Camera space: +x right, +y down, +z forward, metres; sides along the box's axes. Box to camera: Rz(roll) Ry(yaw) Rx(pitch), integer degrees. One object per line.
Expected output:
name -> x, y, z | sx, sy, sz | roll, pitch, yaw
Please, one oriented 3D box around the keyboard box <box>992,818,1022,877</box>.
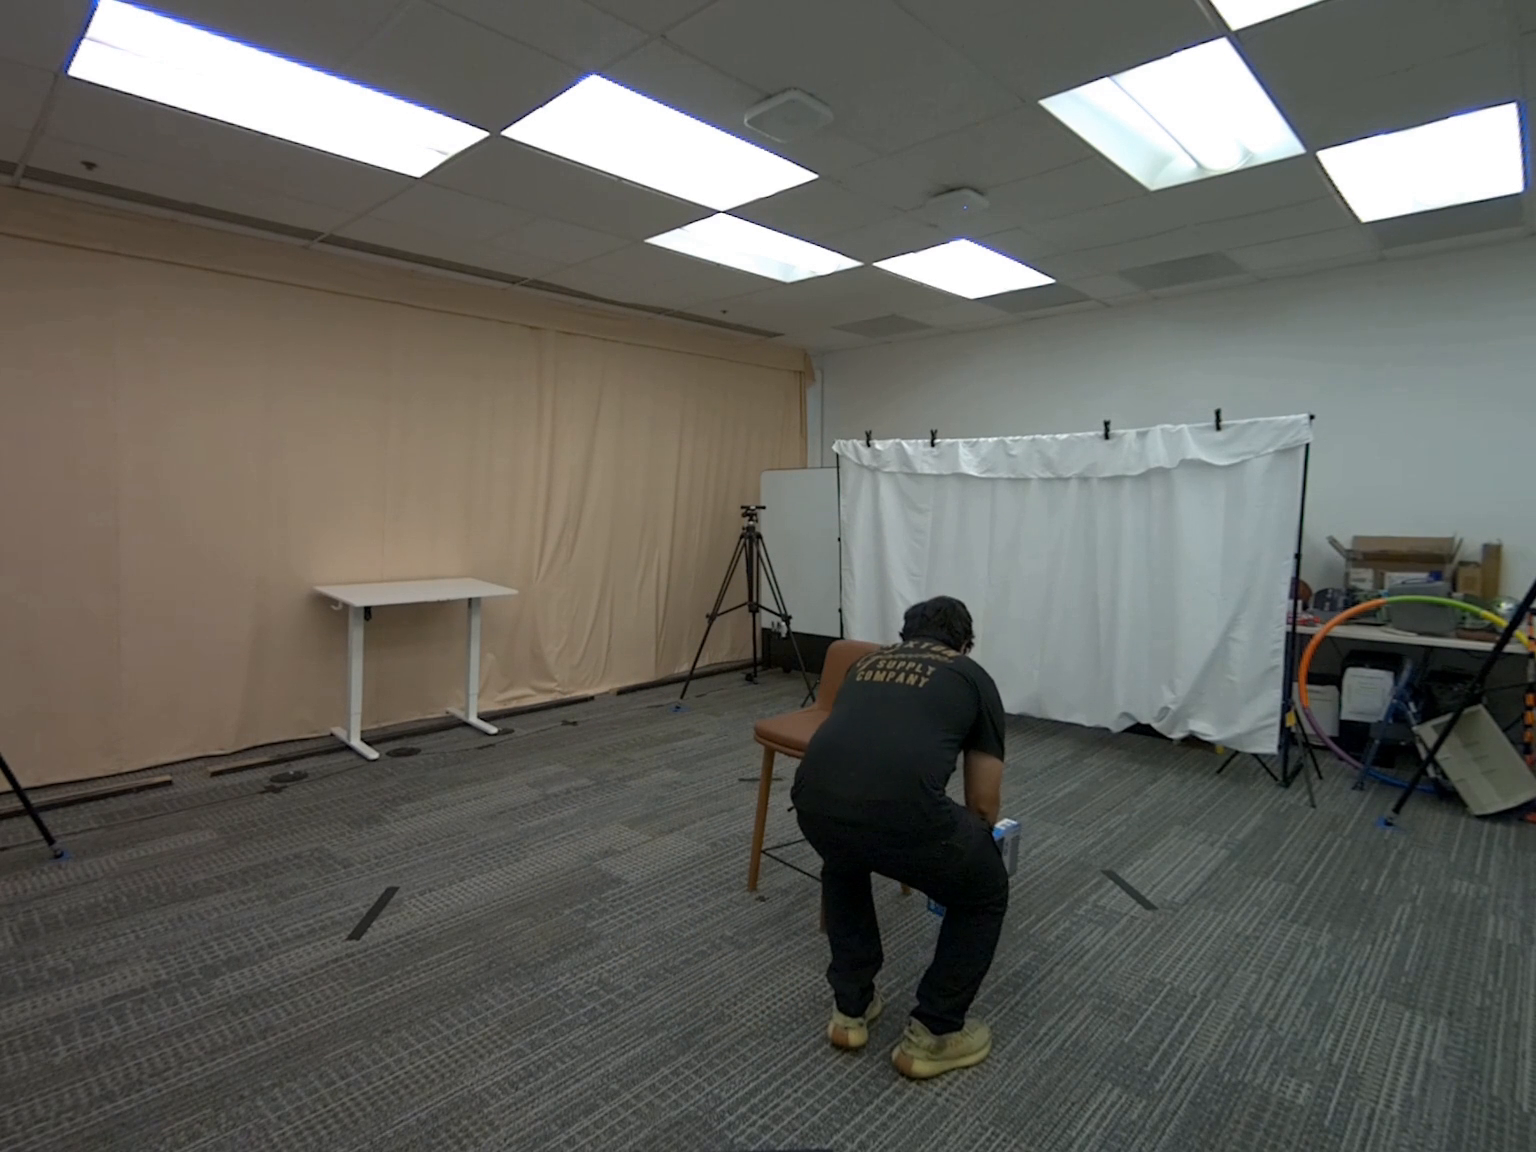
keyboard box -> 0.653, 0.890, 2.564 | 0.061, 0.175, 0.423 | 10, 11, 43
